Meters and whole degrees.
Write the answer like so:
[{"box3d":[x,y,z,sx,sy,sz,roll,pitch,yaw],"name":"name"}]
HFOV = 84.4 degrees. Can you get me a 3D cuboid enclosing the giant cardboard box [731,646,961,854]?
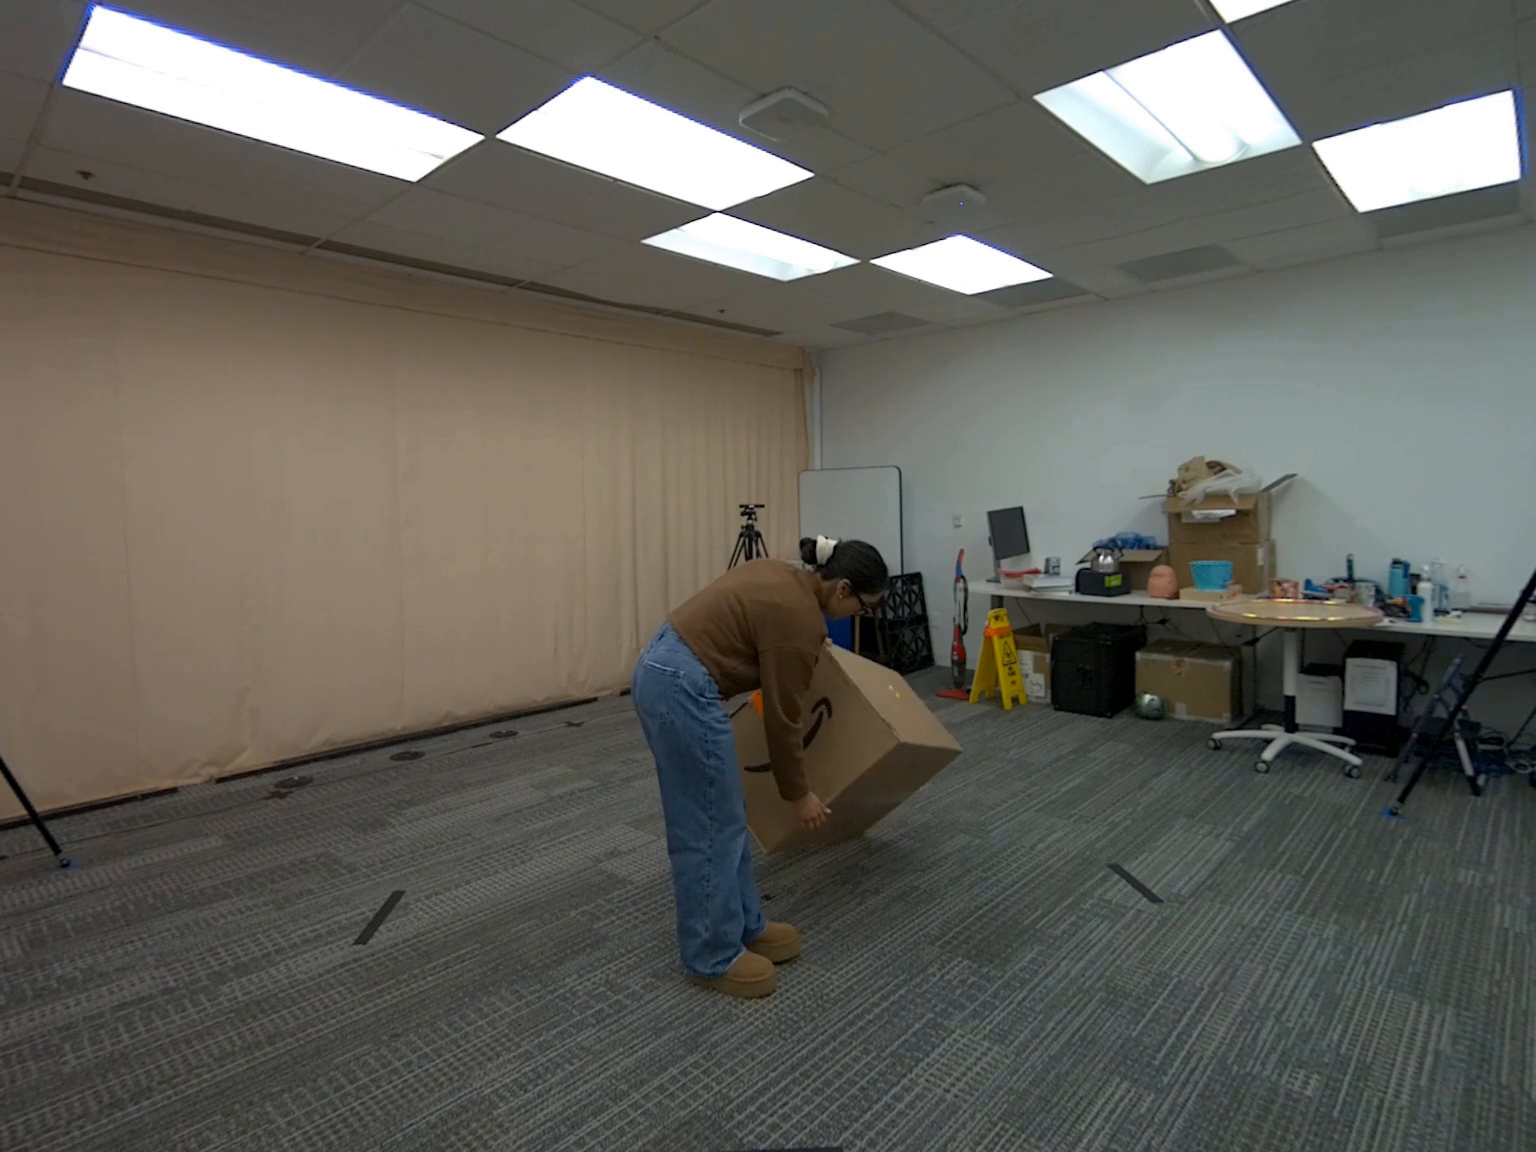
[{"box3d":[0.275,0.650,3.150,0.585,0.459,0.996,-44,-25,9],"name":"giant cardboard box"}]
